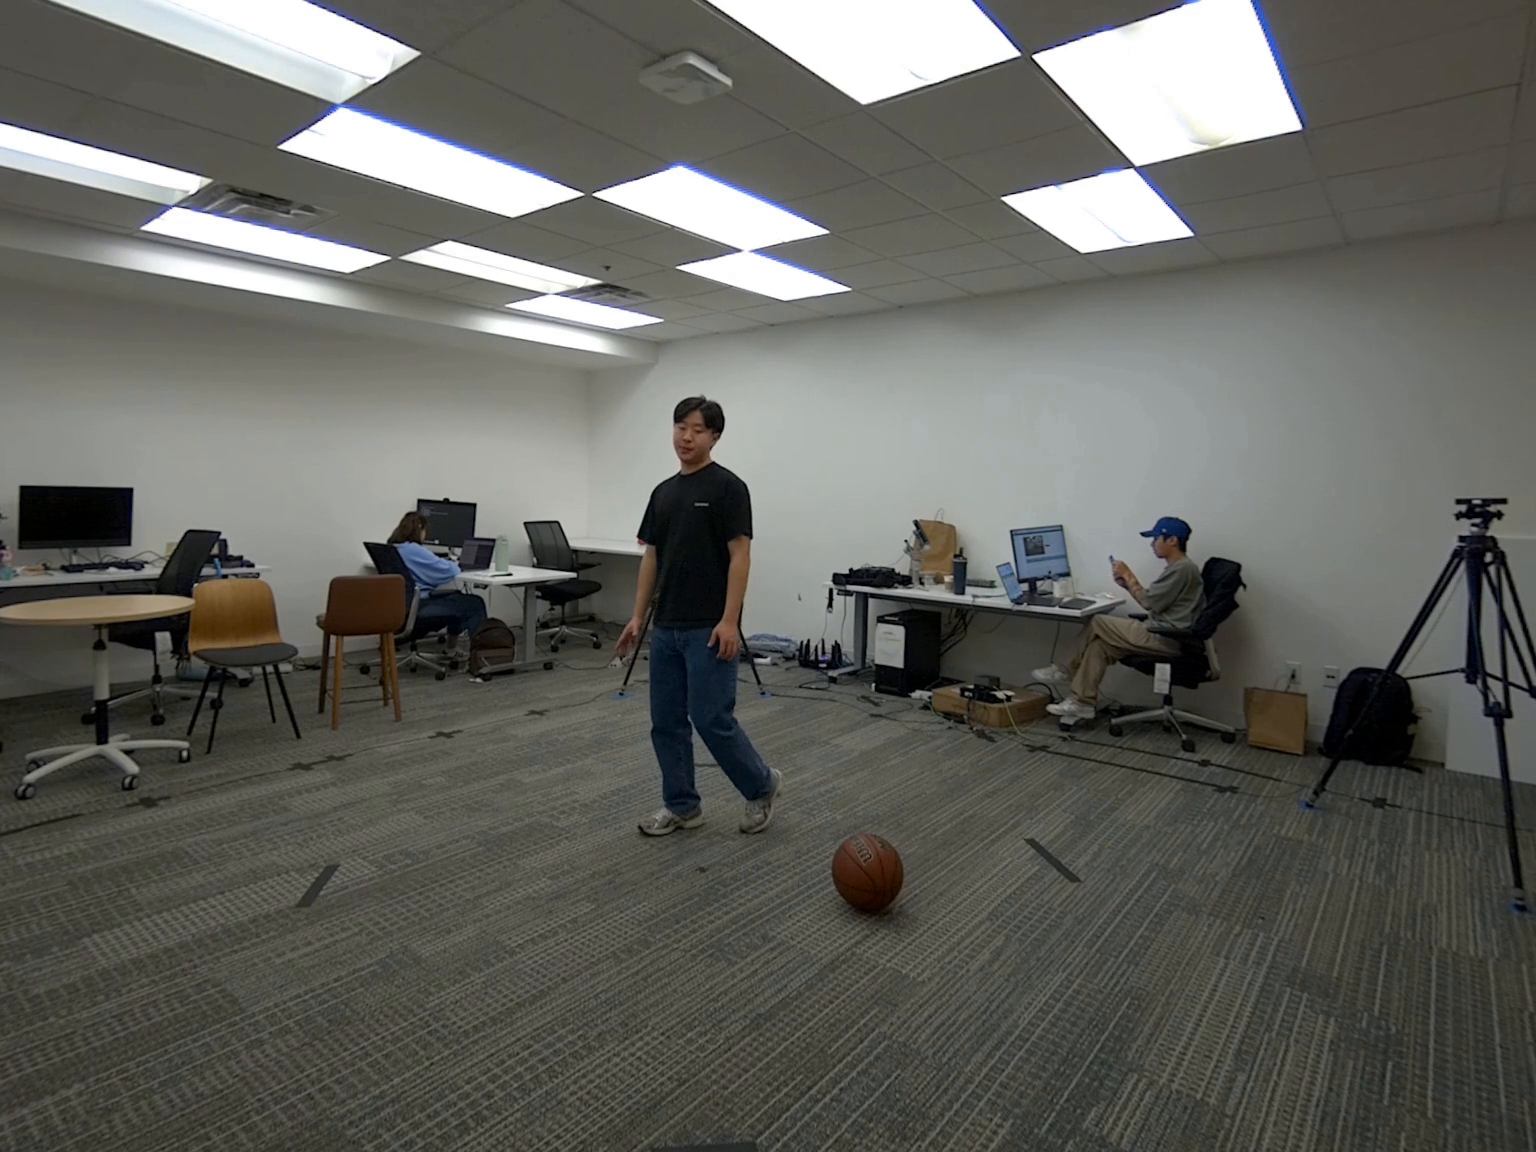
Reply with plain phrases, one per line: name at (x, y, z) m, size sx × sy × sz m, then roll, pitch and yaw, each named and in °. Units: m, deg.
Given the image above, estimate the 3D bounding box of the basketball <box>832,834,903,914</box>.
basketball at (0.326, 0.980, 2.853) m, size 0.235 × 0.235 × 0.237 m, roll 1°, pitch 4°, yaw -2°
